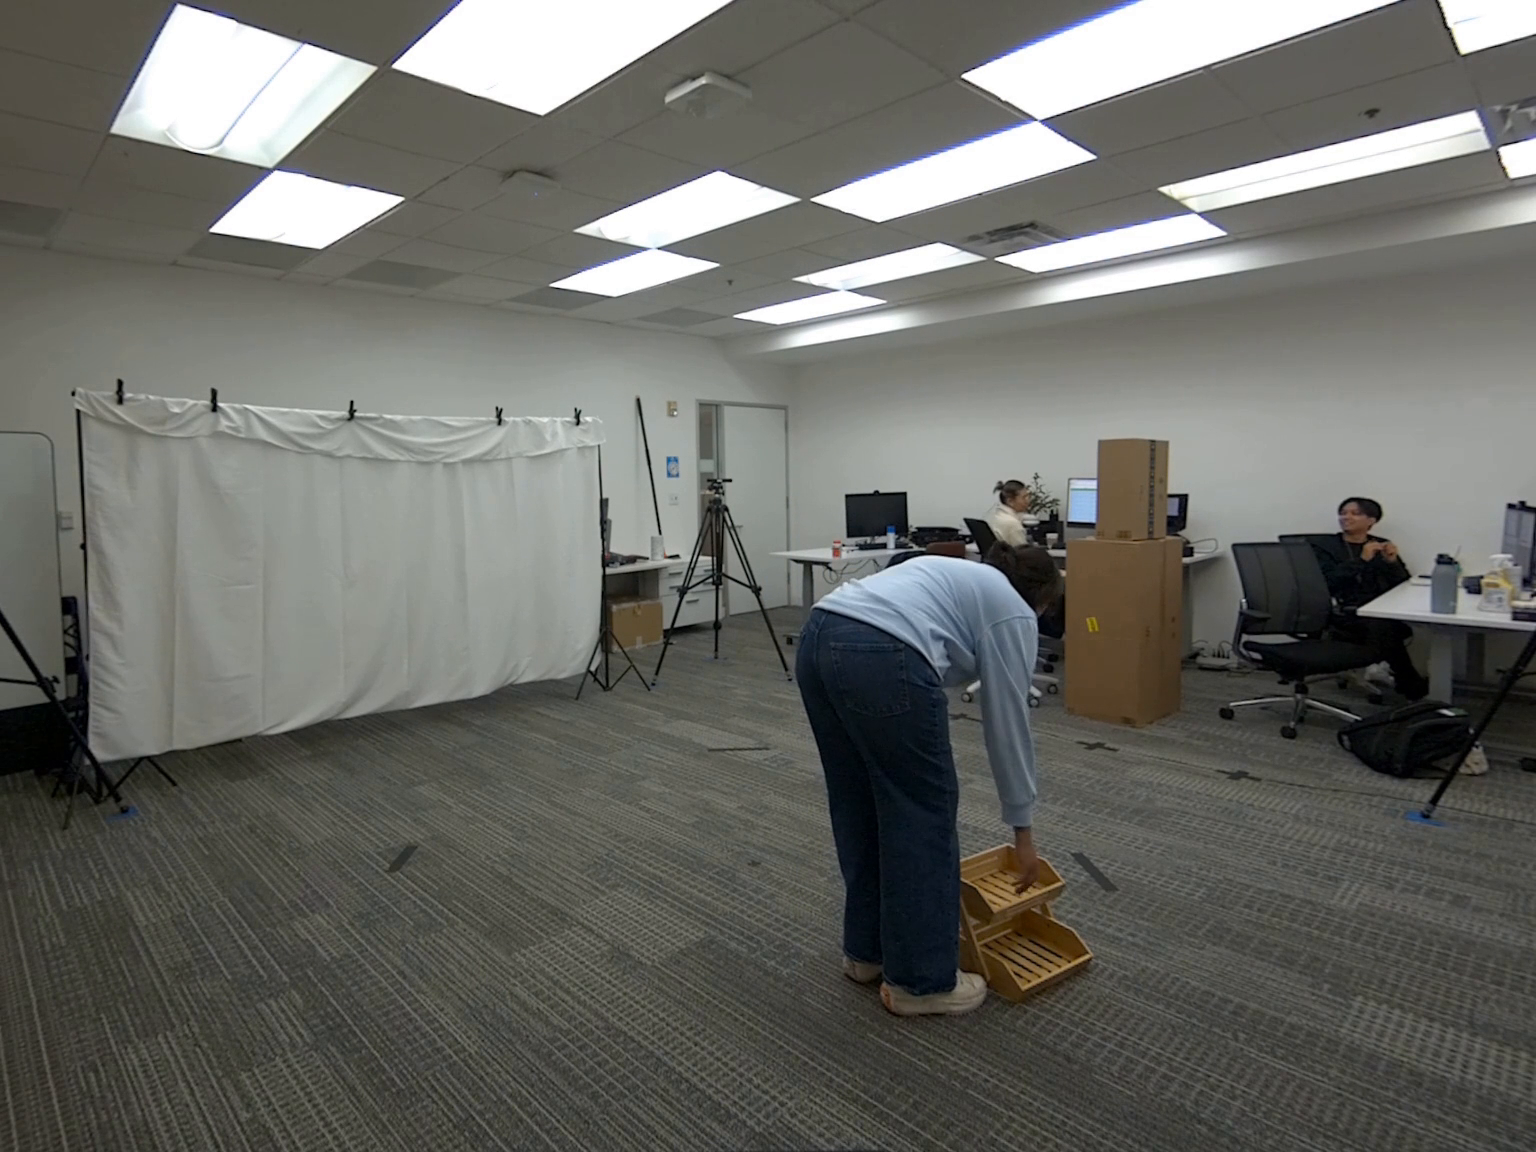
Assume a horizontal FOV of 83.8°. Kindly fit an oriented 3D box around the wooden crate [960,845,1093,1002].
[{"bbox_3d":[0.713,0.978,2.431,0.317,0.272,0.311,-5,6,-33],"label":"wooden crate"}]
